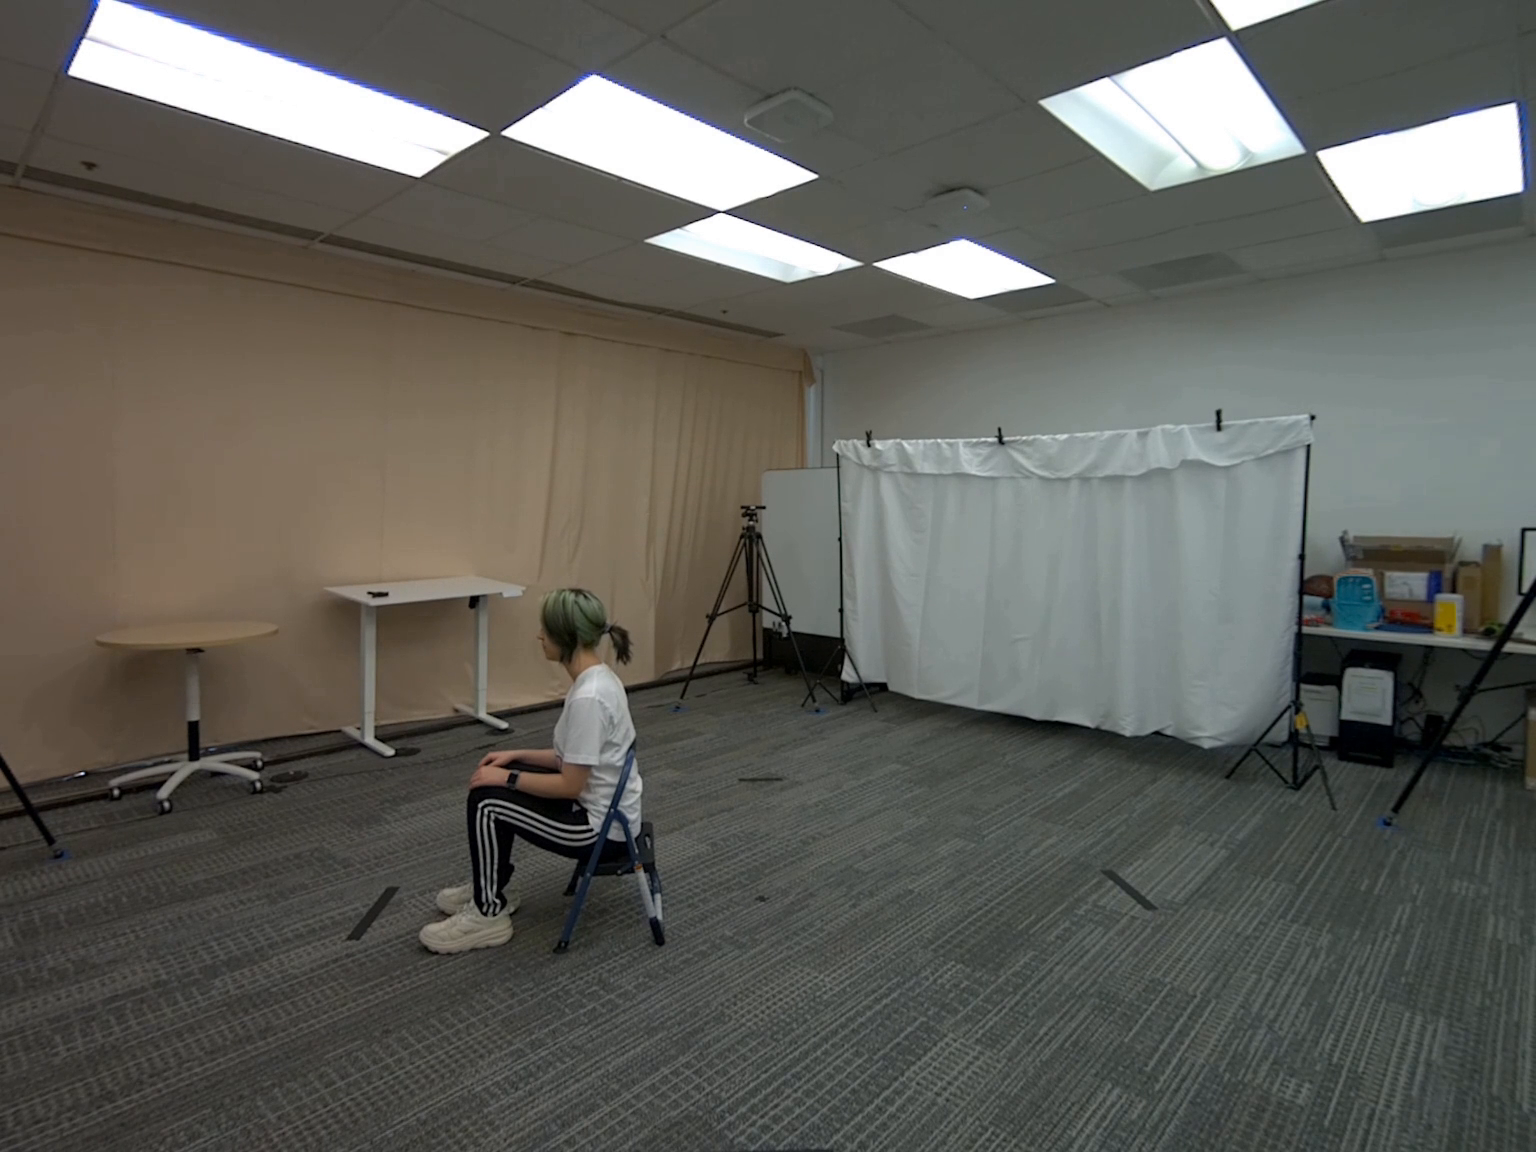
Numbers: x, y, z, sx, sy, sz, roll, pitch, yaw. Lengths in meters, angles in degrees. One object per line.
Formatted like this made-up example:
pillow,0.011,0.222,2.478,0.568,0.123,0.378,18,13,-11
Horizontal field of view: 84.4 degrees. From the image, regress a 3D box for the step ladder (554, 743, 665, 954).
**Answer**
step ladder,-0.530,0.866,2.833,0.346,0.605,0.435,-2,3,-8
